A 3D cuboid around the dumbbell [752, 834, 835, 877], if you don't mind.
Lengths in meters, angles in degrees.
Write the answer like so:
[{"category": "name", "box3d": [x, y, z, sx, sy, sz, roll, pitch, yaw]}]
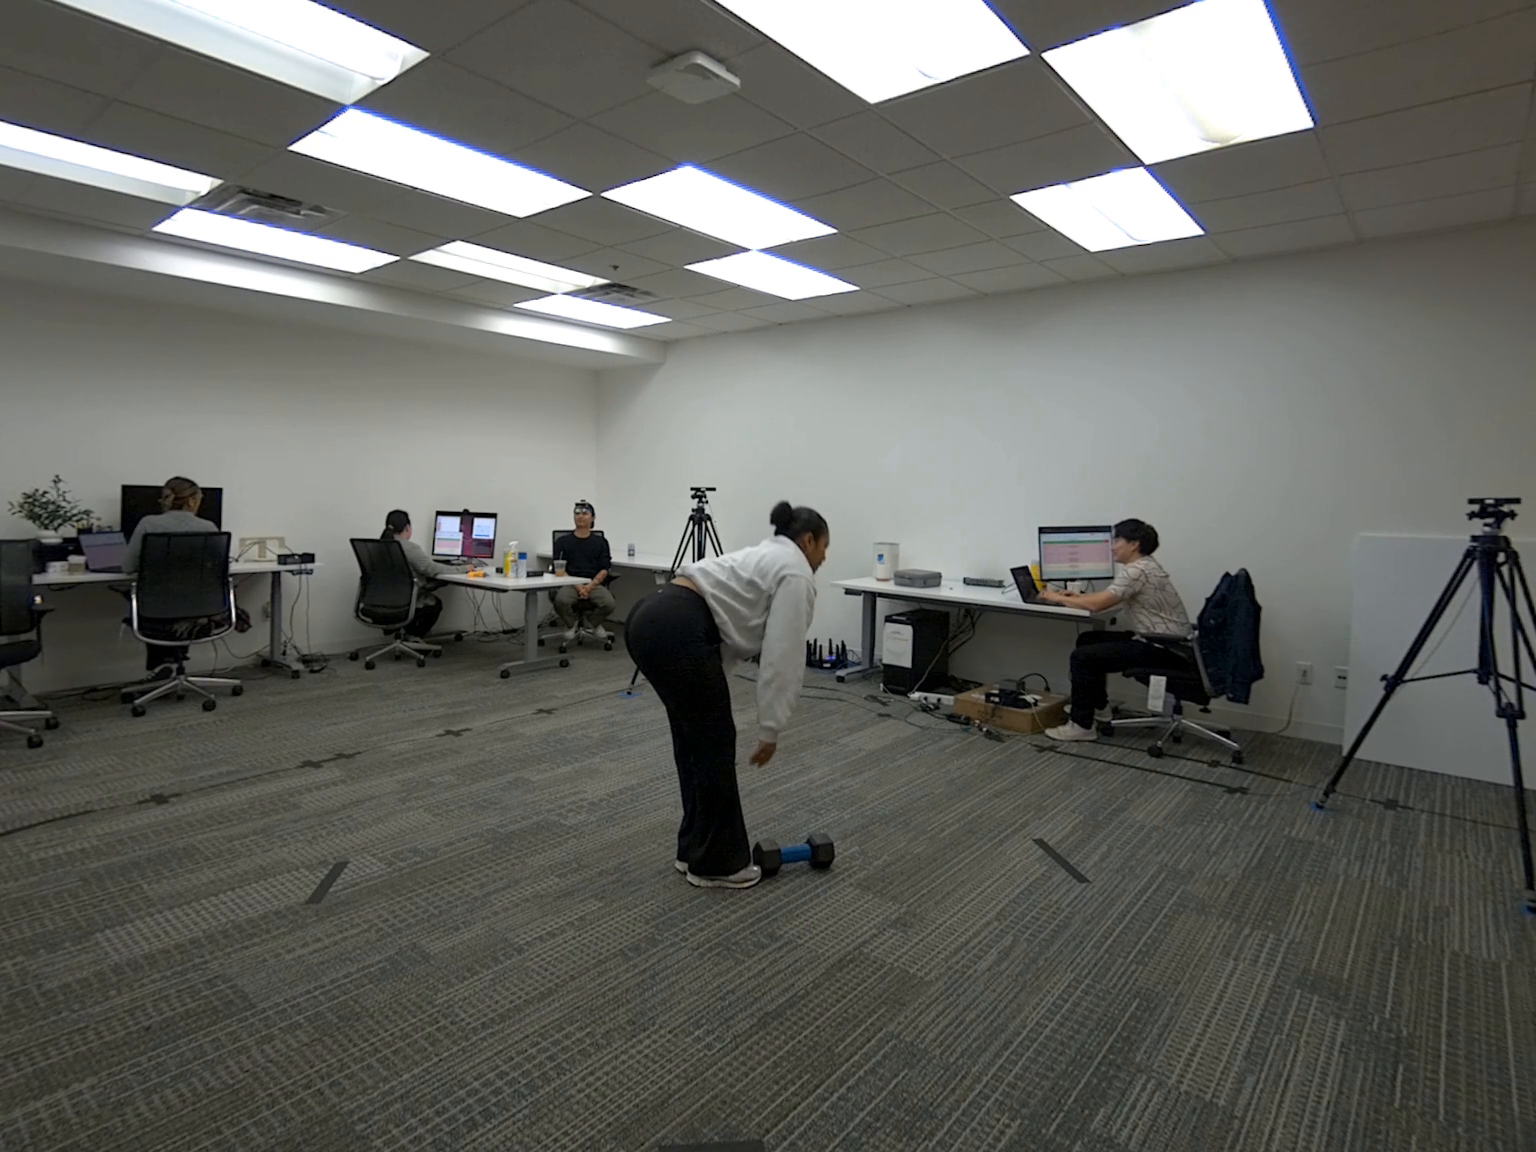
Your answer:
[{"category": "dumbbell", "box3d": [0.084, 1.020, 3.116, 0.288, 0.125, 0.109, -1, -14, -20]}]
